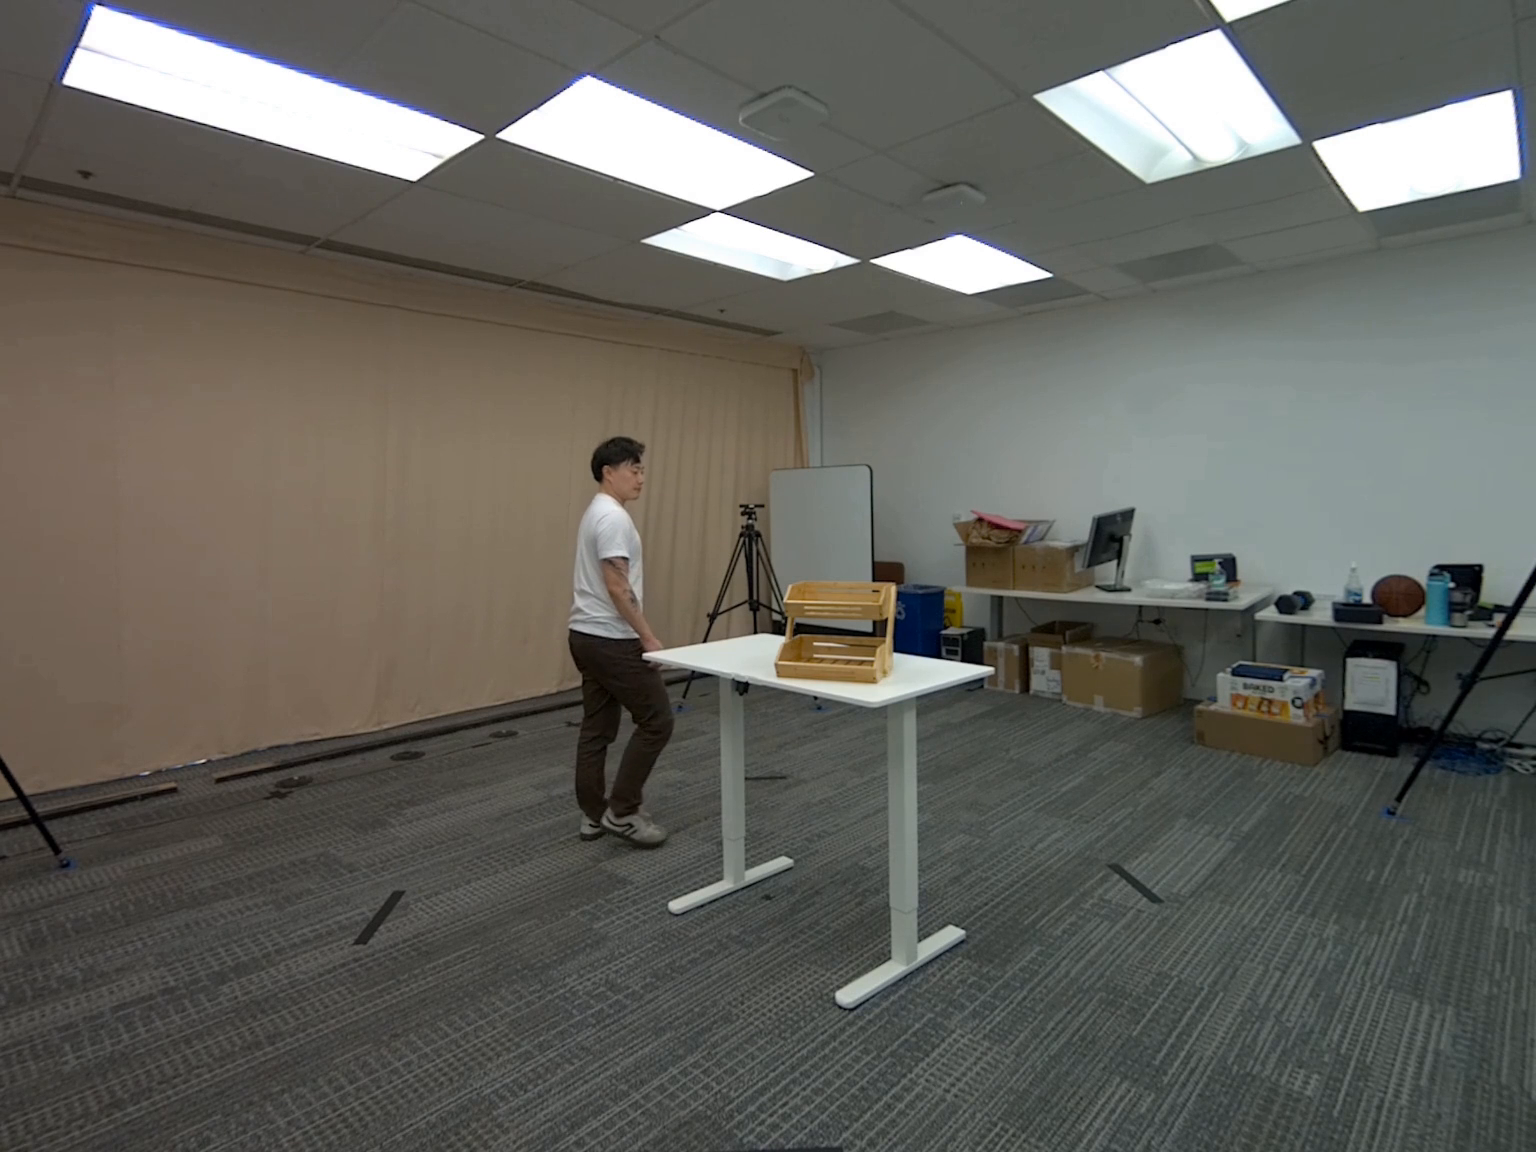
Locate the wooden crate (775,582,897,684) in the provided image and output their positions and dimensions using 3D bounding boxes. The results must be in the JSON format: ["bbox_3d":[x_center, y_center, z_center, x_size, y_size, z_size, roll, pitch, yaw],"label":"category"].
[{"bbox_3d":[0.215,0.160,2.546,0.332,0.273,0.296,0,3,21],"label":"wooden crate"}]
